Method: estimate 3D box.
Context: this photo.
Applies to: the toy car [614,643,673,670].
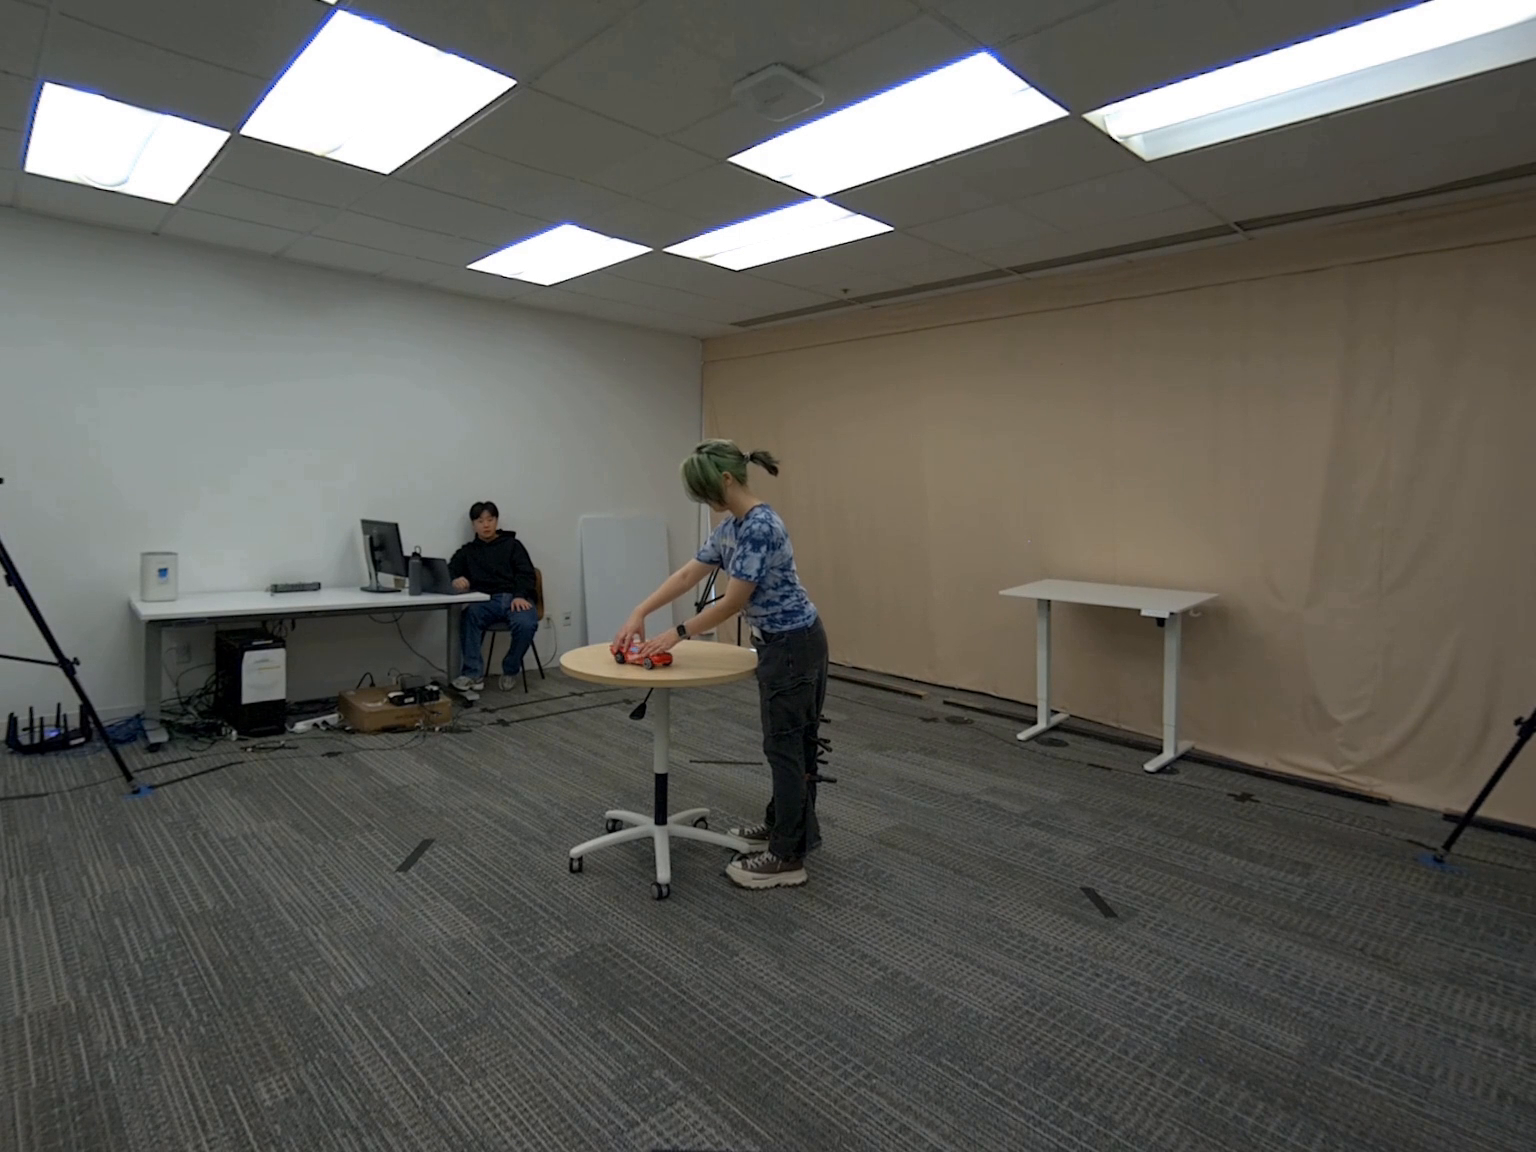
[{"bbox_3d":[-0.472,0.289,3.058,0.262,0.082,0.127,19,16,36],"label":"toy car"}]
